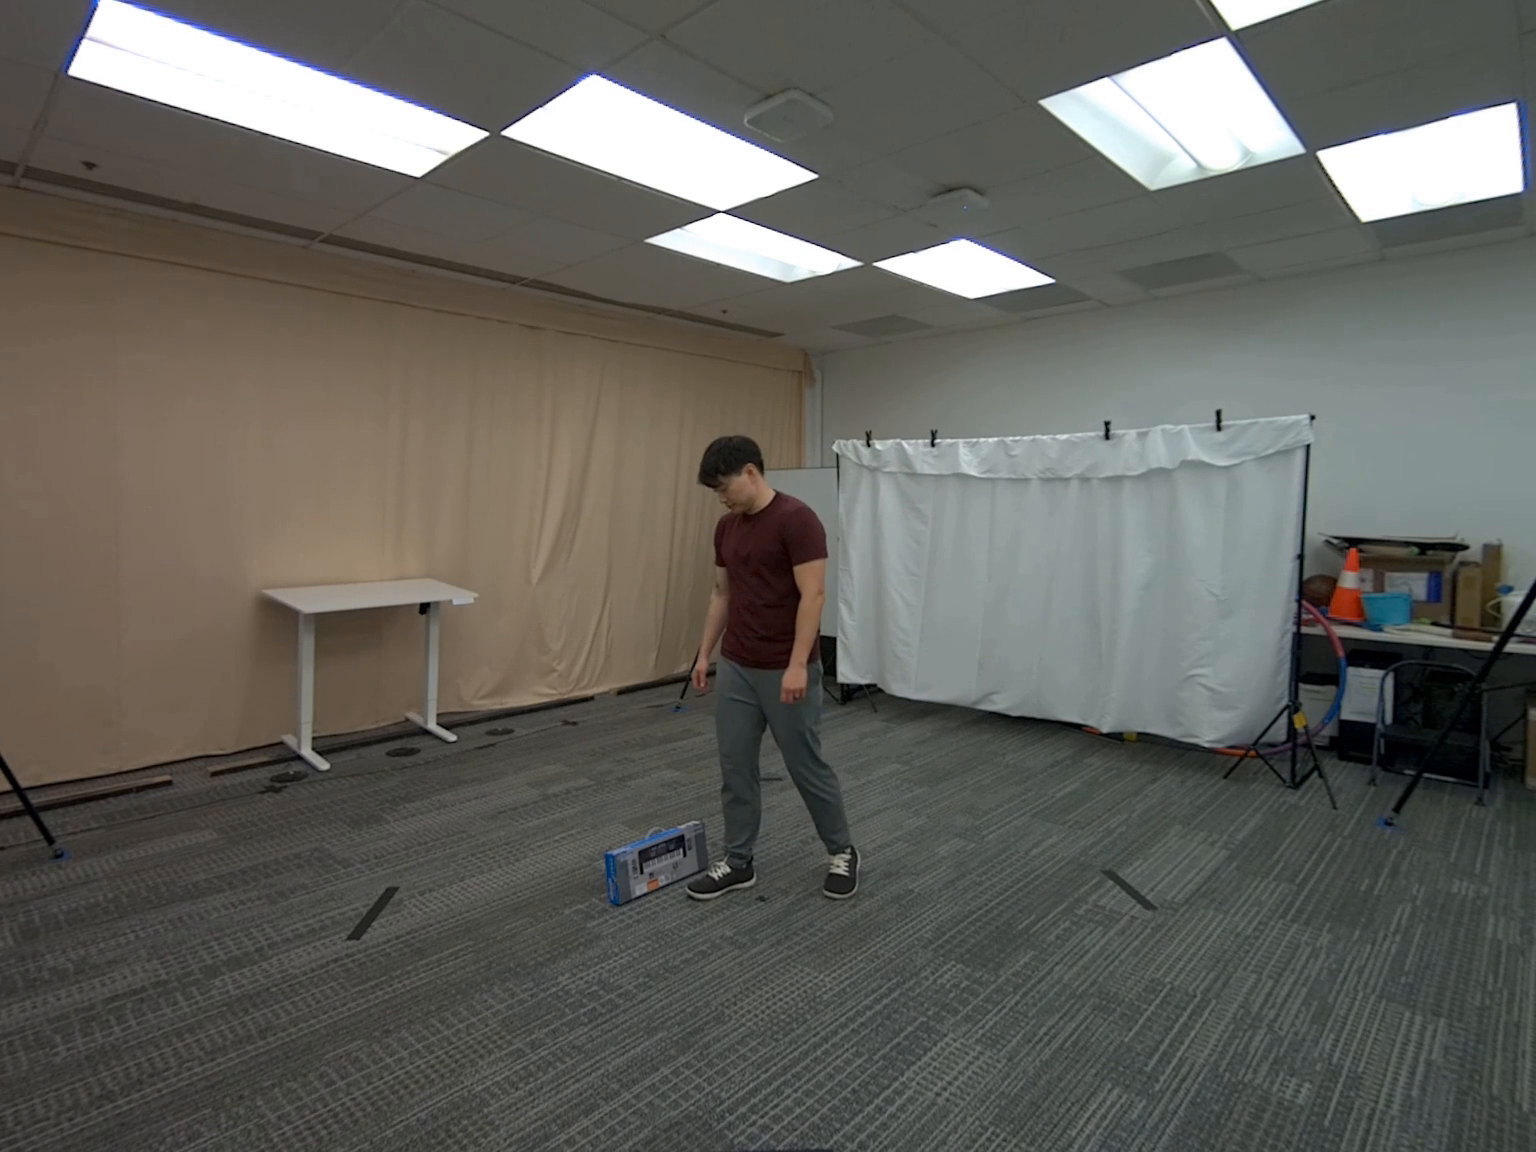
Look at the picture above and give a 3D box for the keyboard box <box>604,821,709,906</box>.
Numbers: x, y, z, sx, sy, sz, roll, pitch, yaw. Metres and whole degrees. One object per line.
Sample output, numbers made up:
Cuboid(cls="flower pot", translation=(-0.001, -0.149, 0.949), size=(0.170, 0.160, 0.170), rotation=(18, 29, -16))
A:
Cuboid(cls="keyboard box", translation=(-0.401, 1.052, 3.101), size=(0.061, 0.176, 0.423), rotation=(-10, -4, 44))
